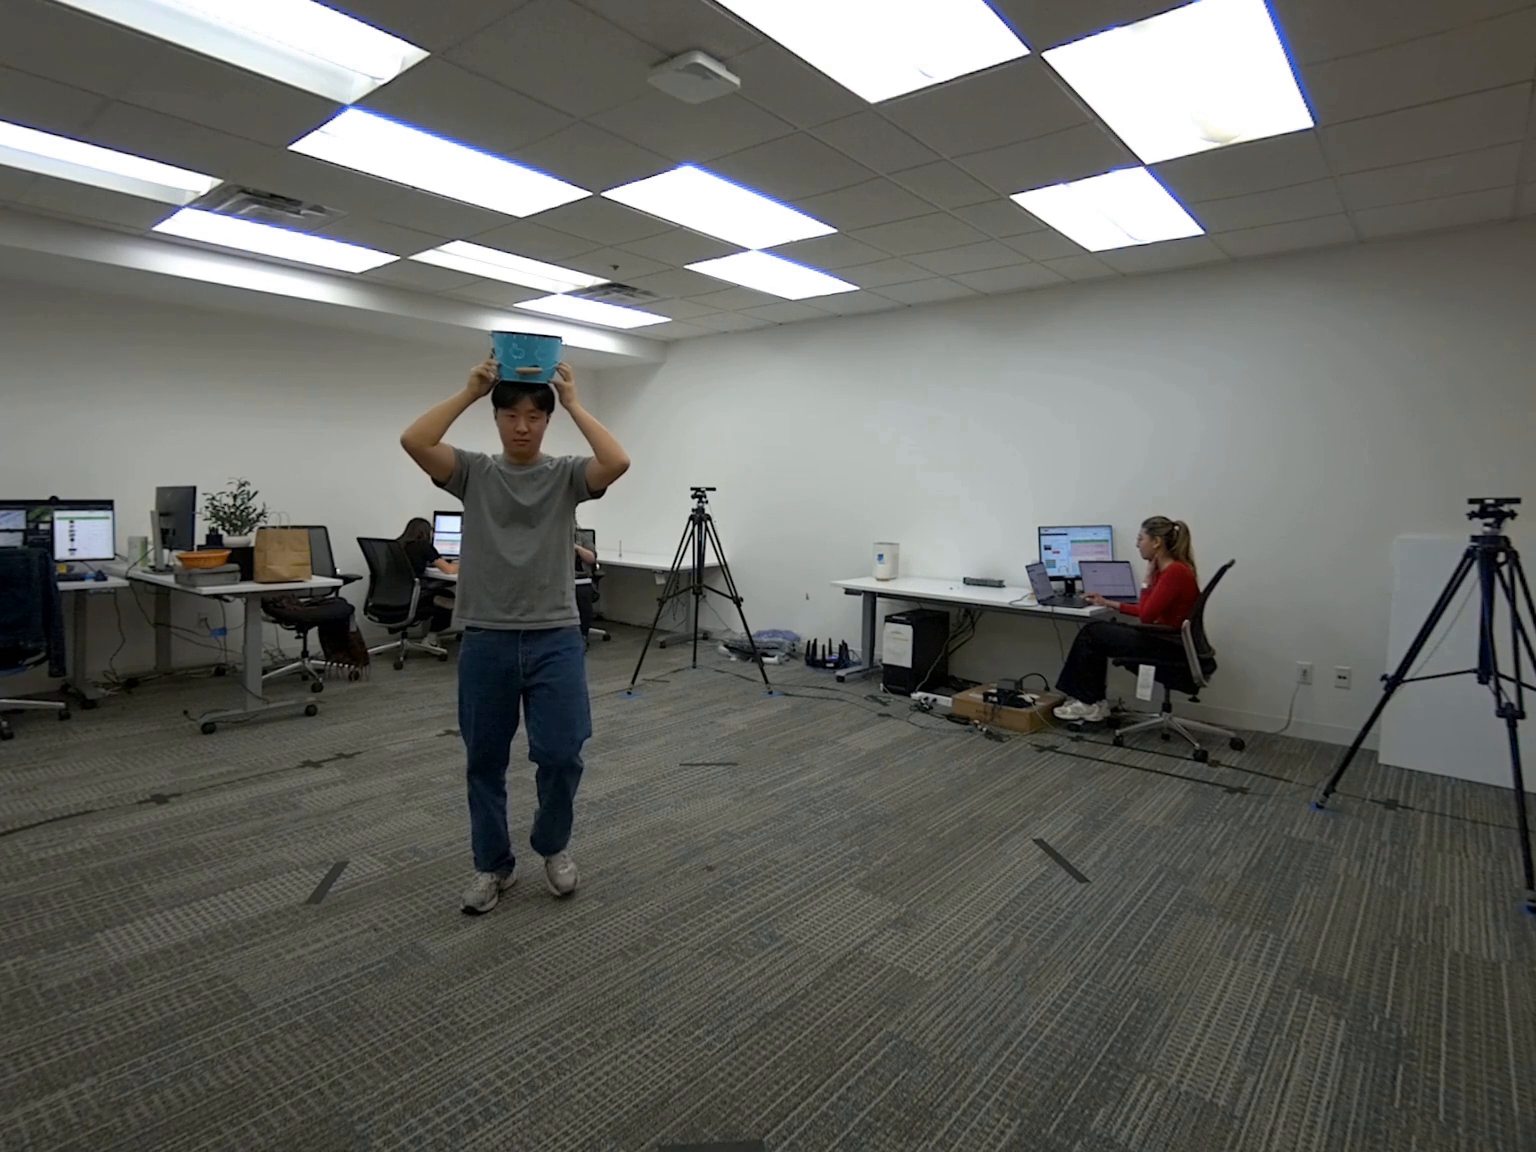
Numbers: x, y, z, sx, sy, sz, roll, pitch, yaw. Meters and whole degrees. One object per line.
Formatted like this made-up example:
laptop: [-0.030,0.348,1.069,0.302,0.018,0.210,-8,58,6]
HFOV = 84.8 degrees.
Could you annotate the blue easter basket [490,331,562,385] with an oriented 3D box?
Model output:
blue easter basket: [-0.785,-0.703,2.736,0.243,0.154,0.247,3,14,-3]
